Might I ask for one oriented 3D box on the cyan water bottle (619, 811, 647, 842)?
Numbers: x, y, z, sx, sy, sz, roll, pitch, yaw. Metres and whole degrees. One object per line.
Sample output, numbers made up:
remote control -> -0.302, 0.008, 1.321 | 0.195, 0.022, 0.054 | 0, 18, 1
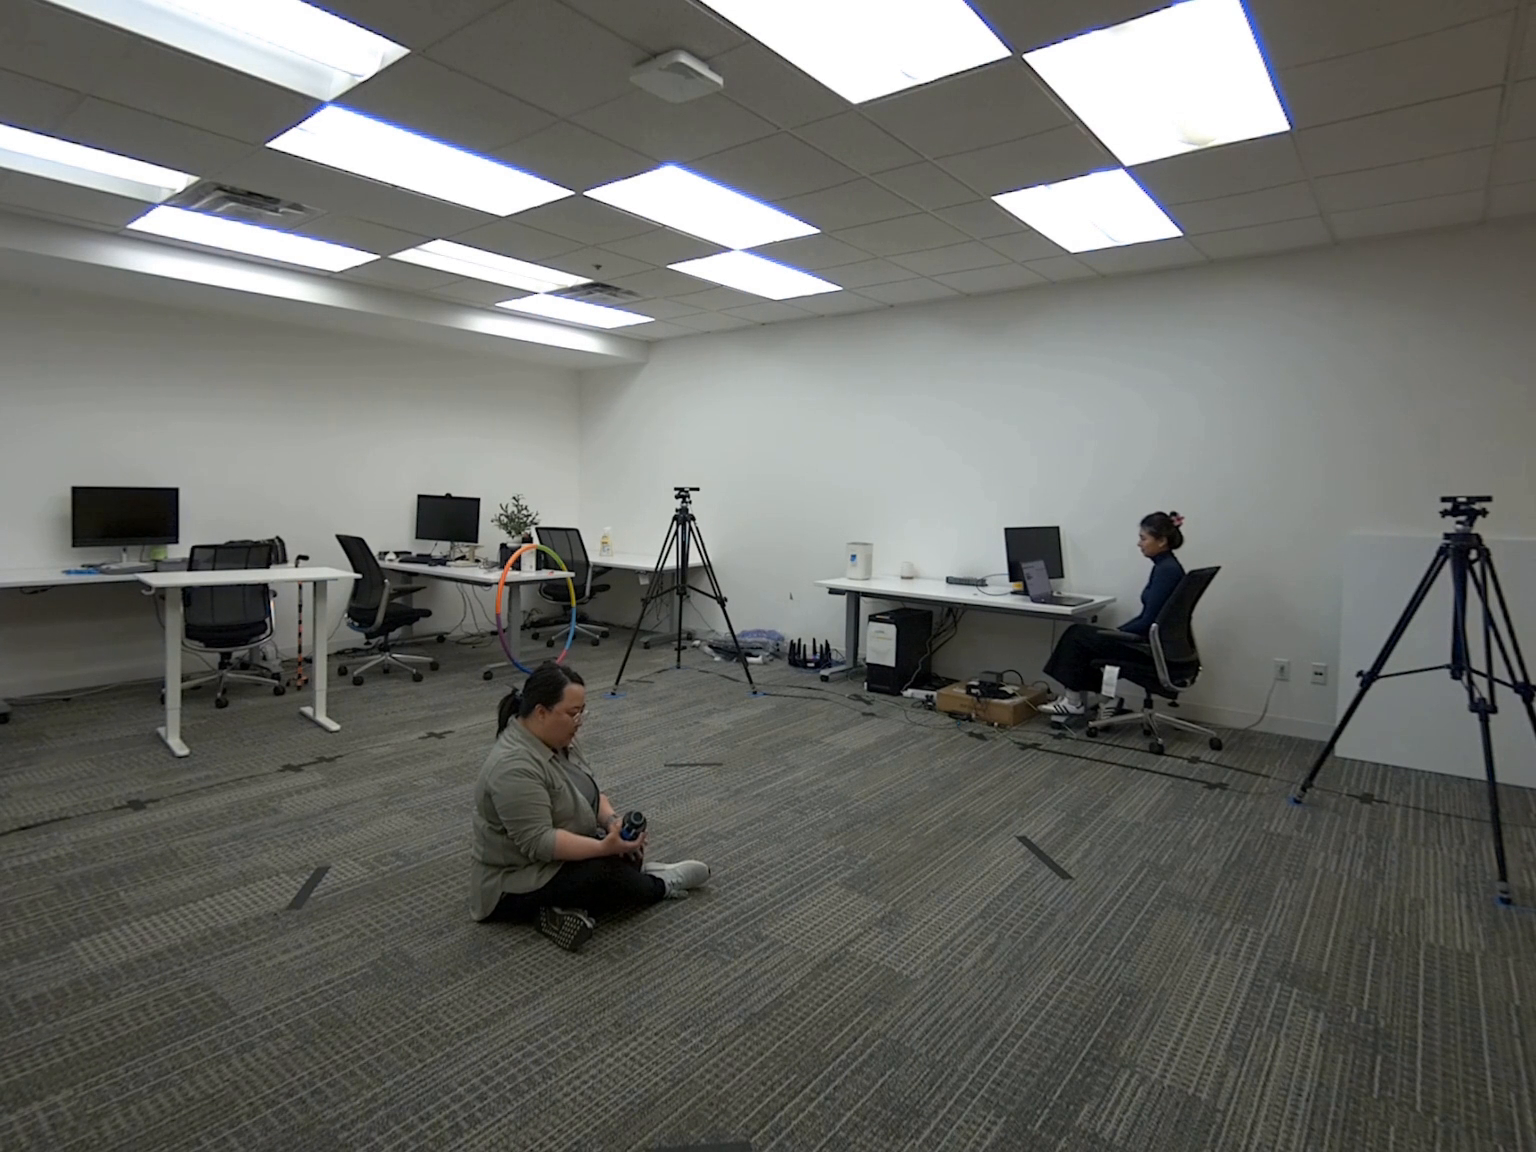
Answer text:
cyan water bottle -> -0.455, 0.833, 2.740 | 0.092, 0.094, 0.278 | 1, -27, -7
